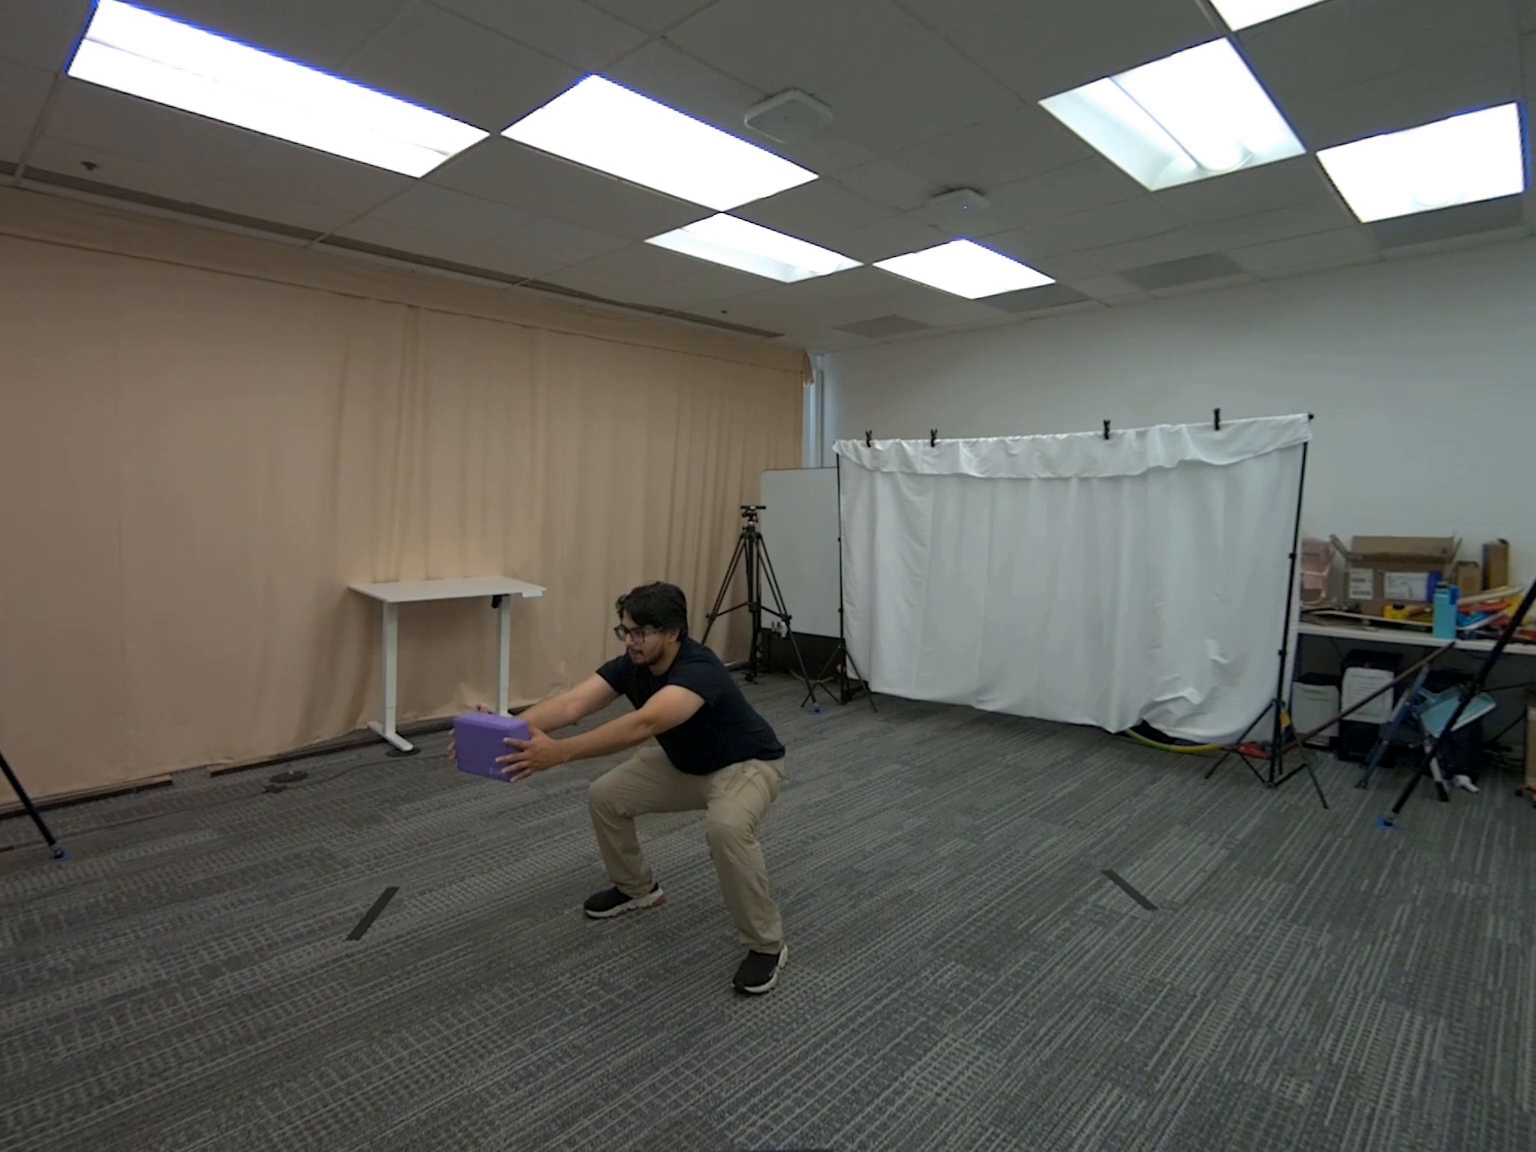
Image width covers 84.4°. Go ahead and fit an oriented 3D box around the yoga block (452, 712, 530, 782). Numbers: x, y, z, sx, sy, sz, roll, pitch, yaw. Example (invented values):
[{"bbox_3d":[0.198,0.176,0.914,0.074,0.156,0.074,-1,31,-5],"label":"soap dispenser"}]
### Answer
[{"bbox_3d":[-0.716,0.433,2.202,0.236,0.148,0.074,2,6,37],"label":"yoga block"}]
